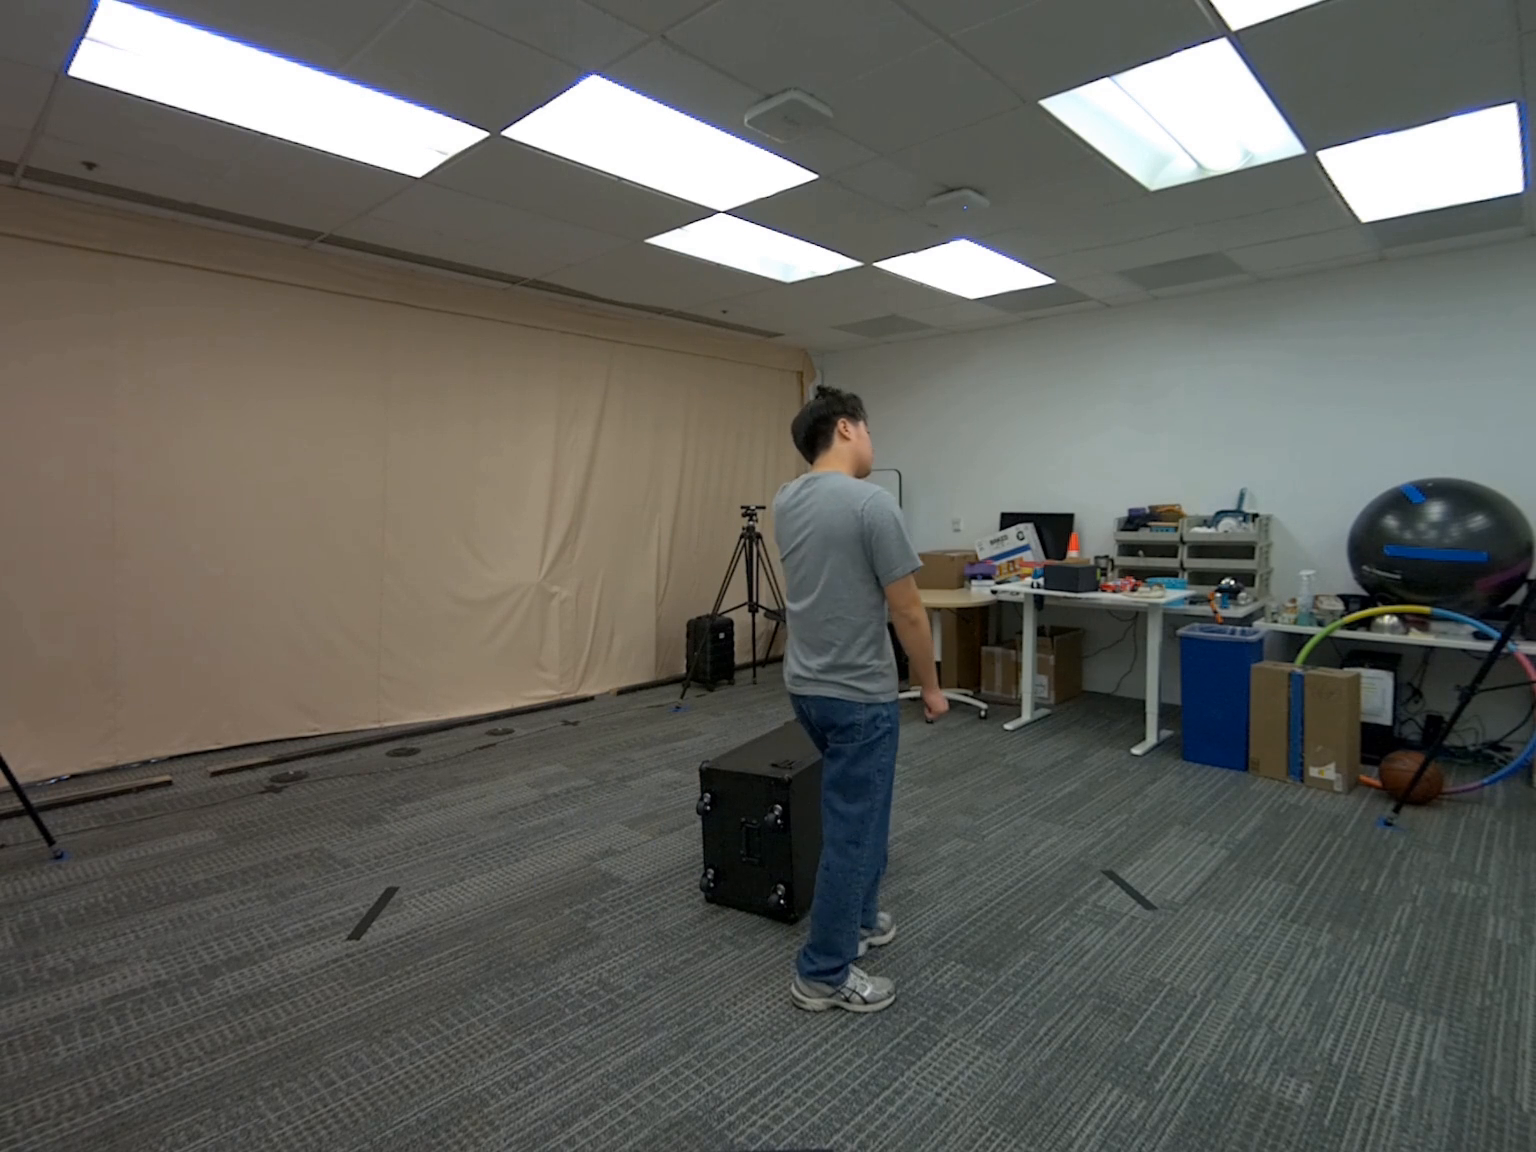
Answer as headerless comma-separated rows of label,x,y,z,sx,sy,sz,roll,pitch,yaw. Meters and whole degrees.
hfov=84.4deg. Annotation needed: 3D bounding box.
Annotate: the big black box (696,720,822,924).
big black box,0.082,0.867,3.169,0.407,0.520,0.840,-1,4,29
